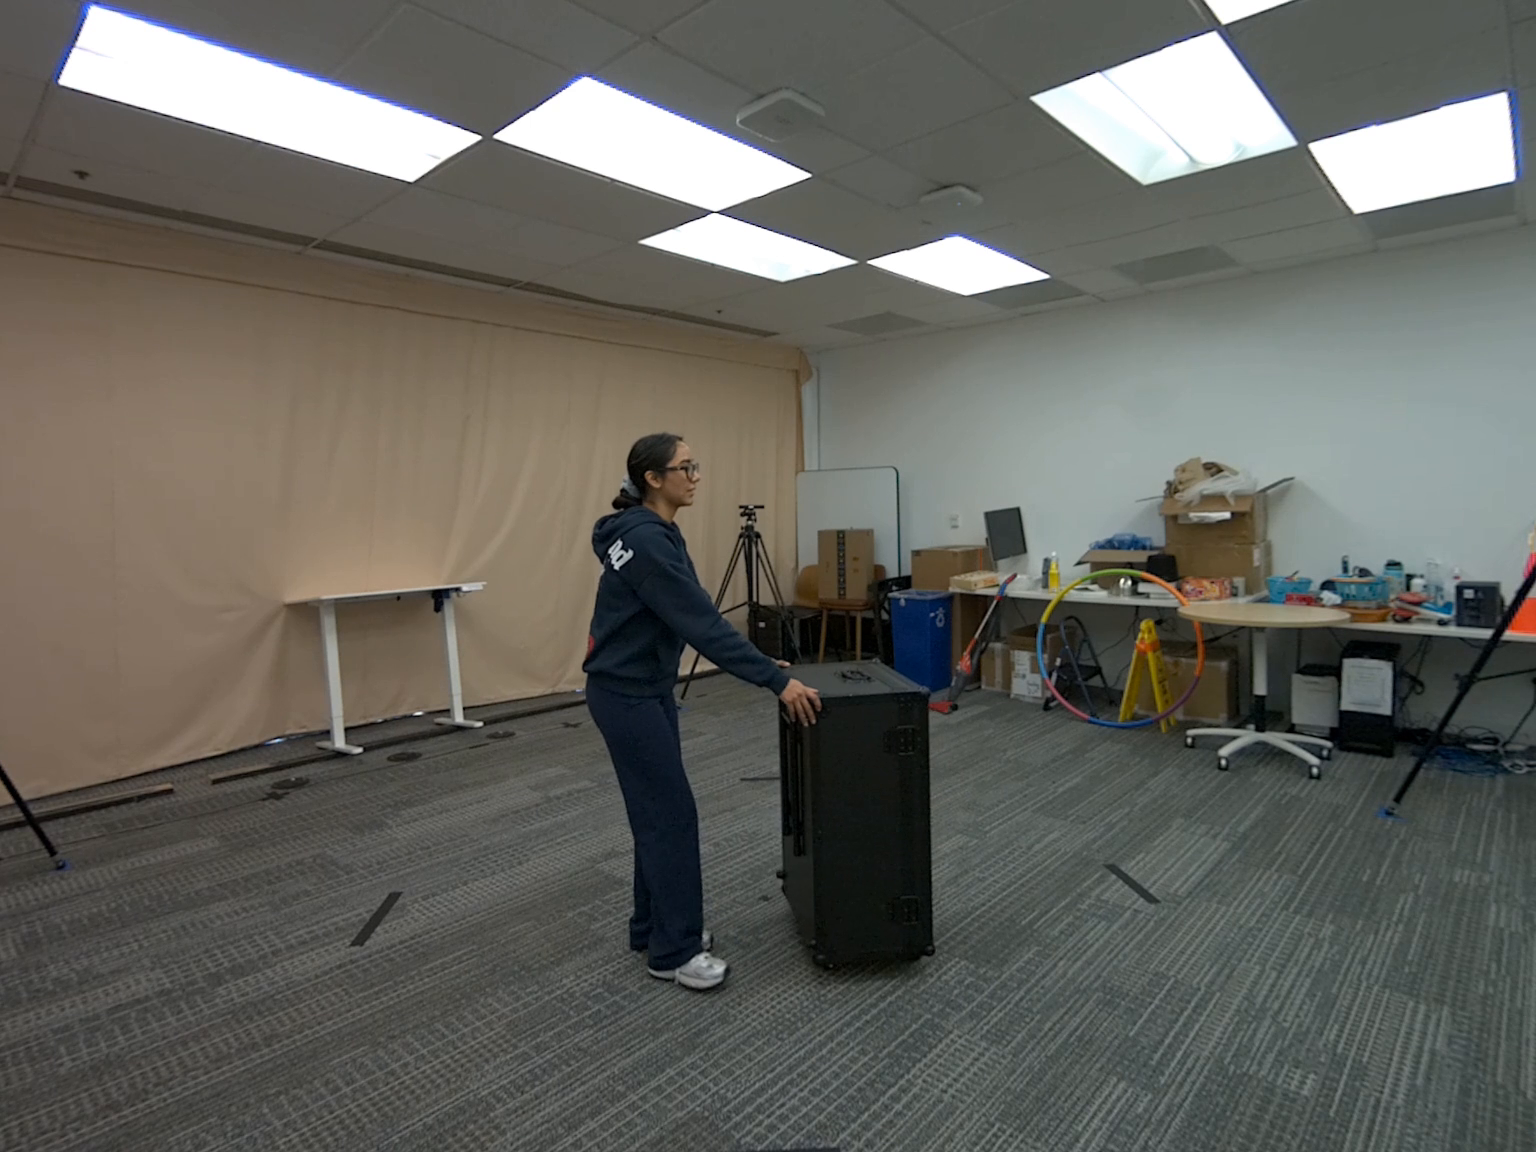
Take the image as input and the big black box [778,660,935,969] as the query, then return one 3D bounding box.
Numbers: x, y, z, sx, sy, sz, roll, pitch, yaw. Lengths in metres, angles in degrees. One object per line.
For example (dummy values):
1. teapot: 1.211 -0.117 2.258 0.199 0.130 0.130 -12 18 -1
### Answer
1. big black box: 0.255 0.746 2.641 0.393 0.859 0.527 -3 5 -8
